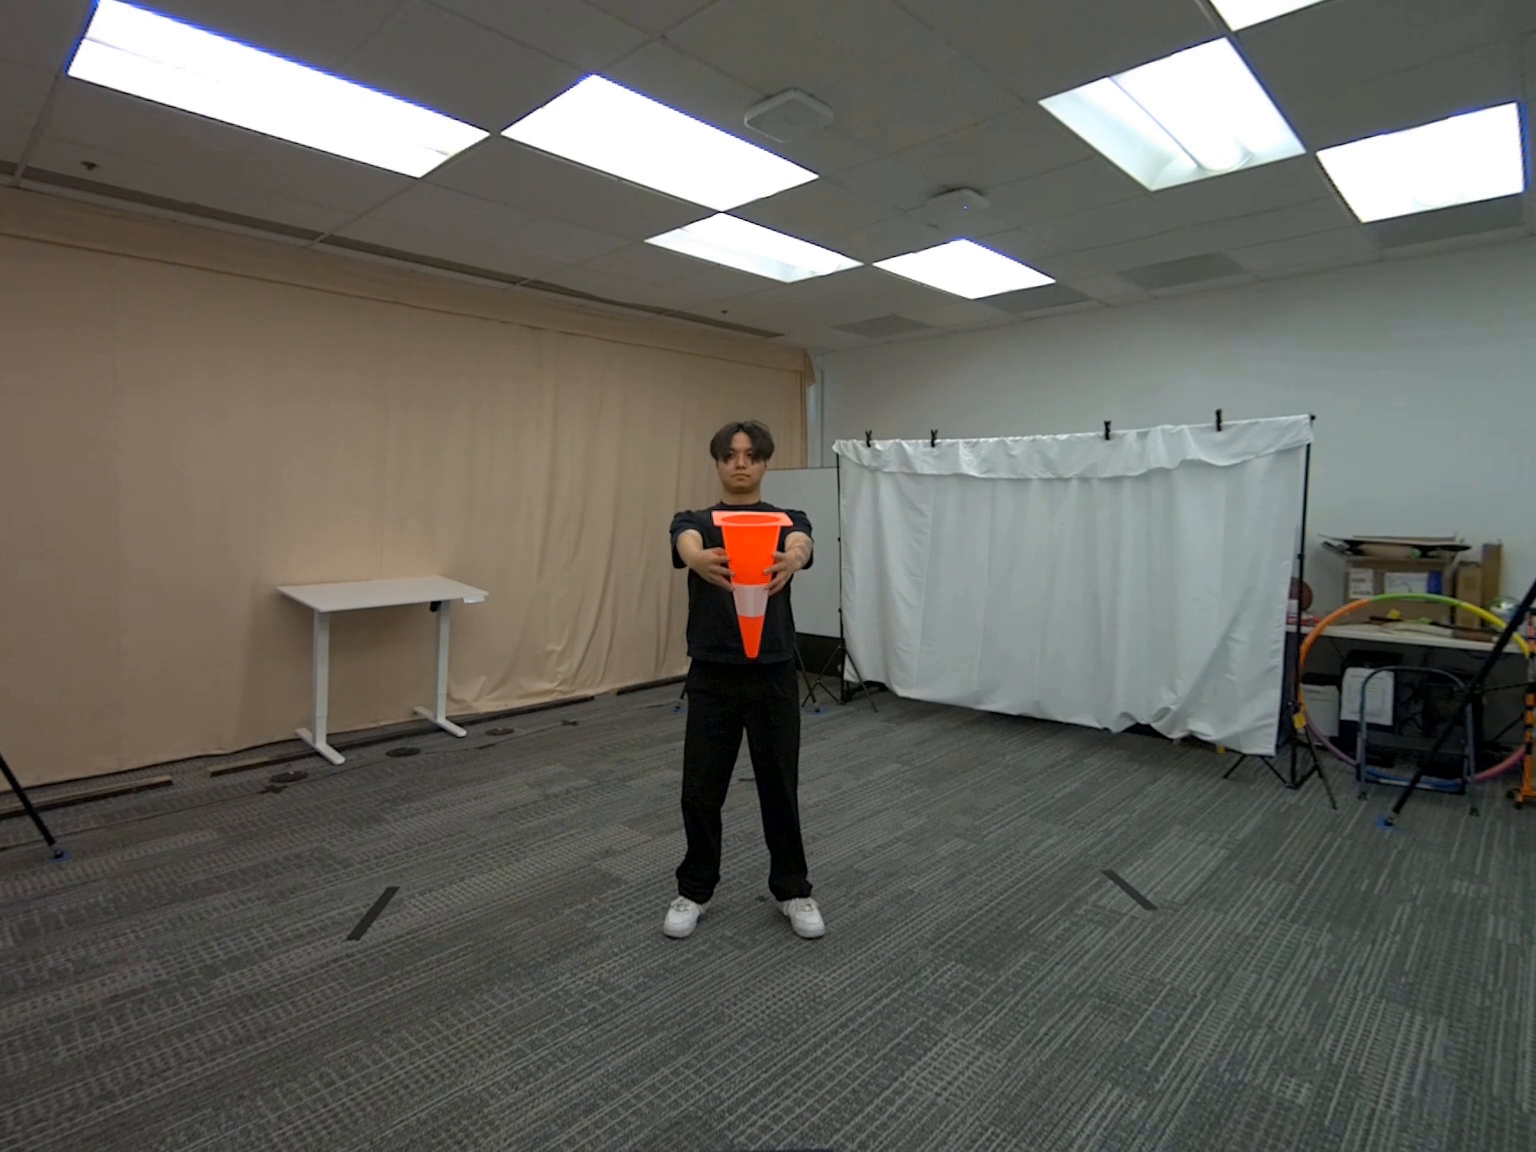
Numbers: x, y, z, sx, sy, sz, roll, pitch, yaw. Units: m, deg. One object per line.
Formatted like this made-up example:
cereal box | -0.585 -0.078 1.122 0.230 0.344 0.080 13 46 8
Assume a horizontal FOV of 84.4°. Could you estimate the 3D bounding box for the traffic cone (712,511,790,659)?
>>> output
traffic cone | -0.053 0.039 2.233 0.204 0.381 0.205 1 11 -5
